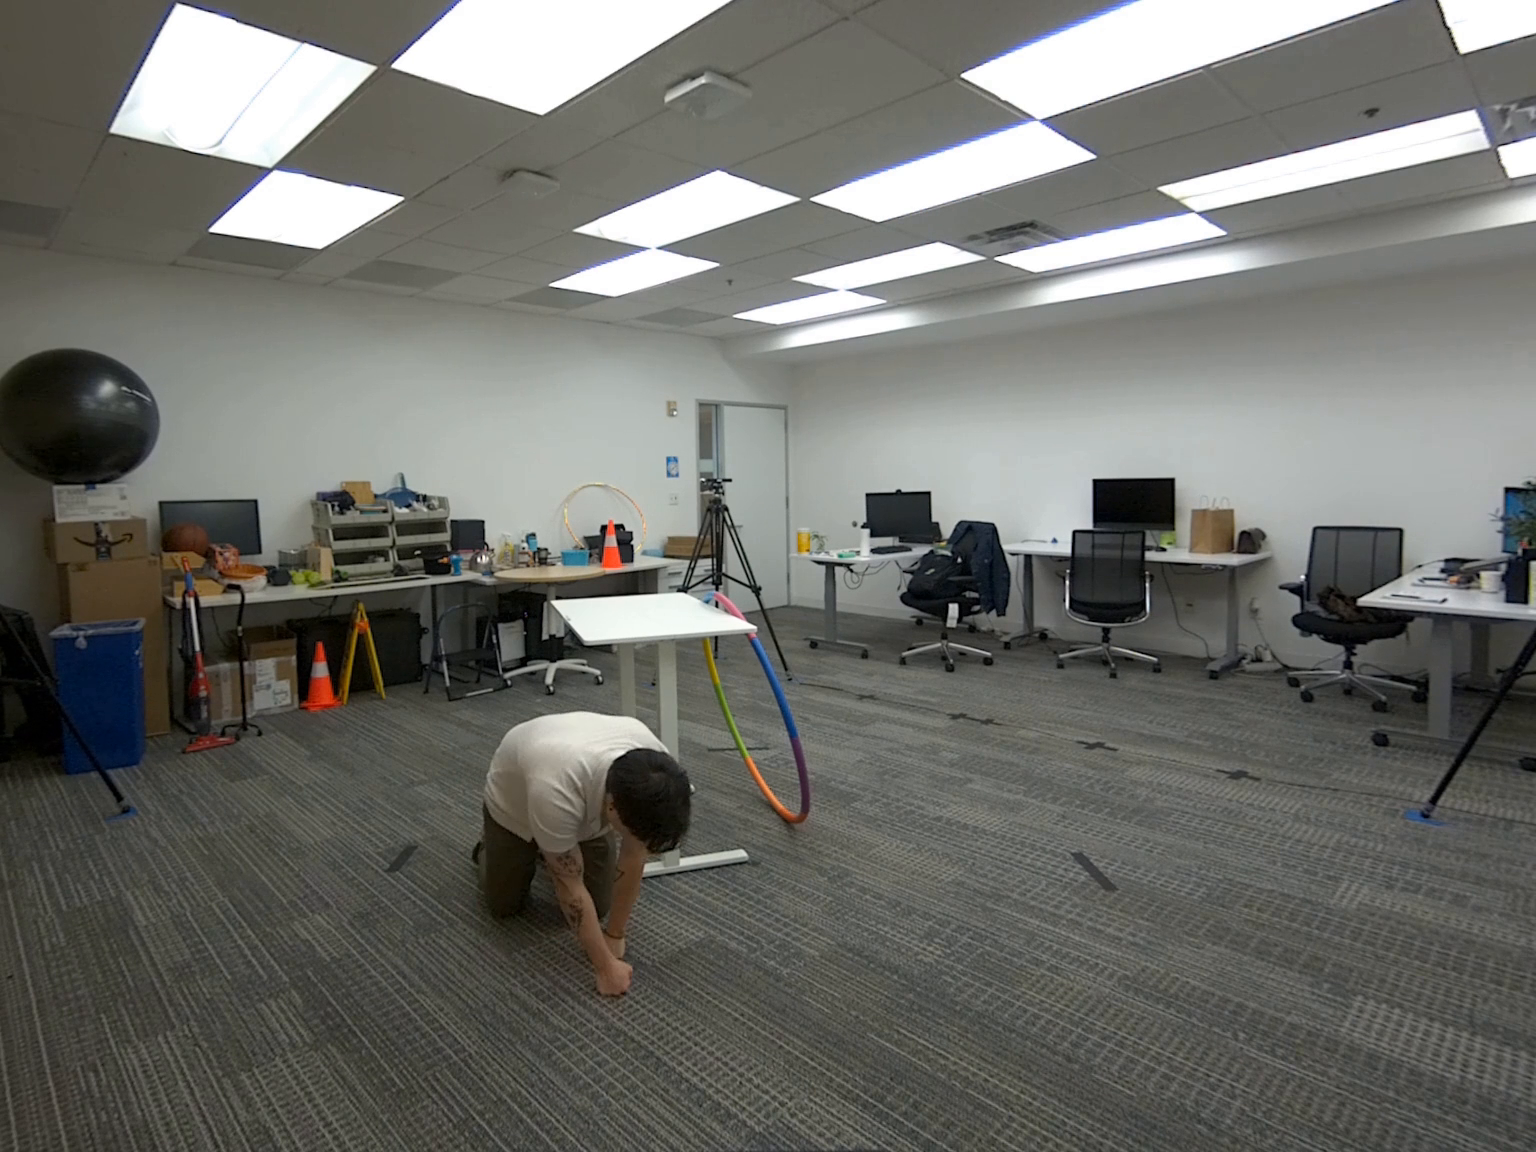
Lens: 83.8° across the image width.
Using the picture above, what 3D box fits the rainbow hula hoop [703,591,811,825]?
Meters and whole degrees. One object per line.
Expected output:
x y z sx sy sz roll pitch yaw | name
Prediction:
-0.065 0.533 3.497 0.035 0.969 0.999 -19 10 -18 | rainbow hula hoop
